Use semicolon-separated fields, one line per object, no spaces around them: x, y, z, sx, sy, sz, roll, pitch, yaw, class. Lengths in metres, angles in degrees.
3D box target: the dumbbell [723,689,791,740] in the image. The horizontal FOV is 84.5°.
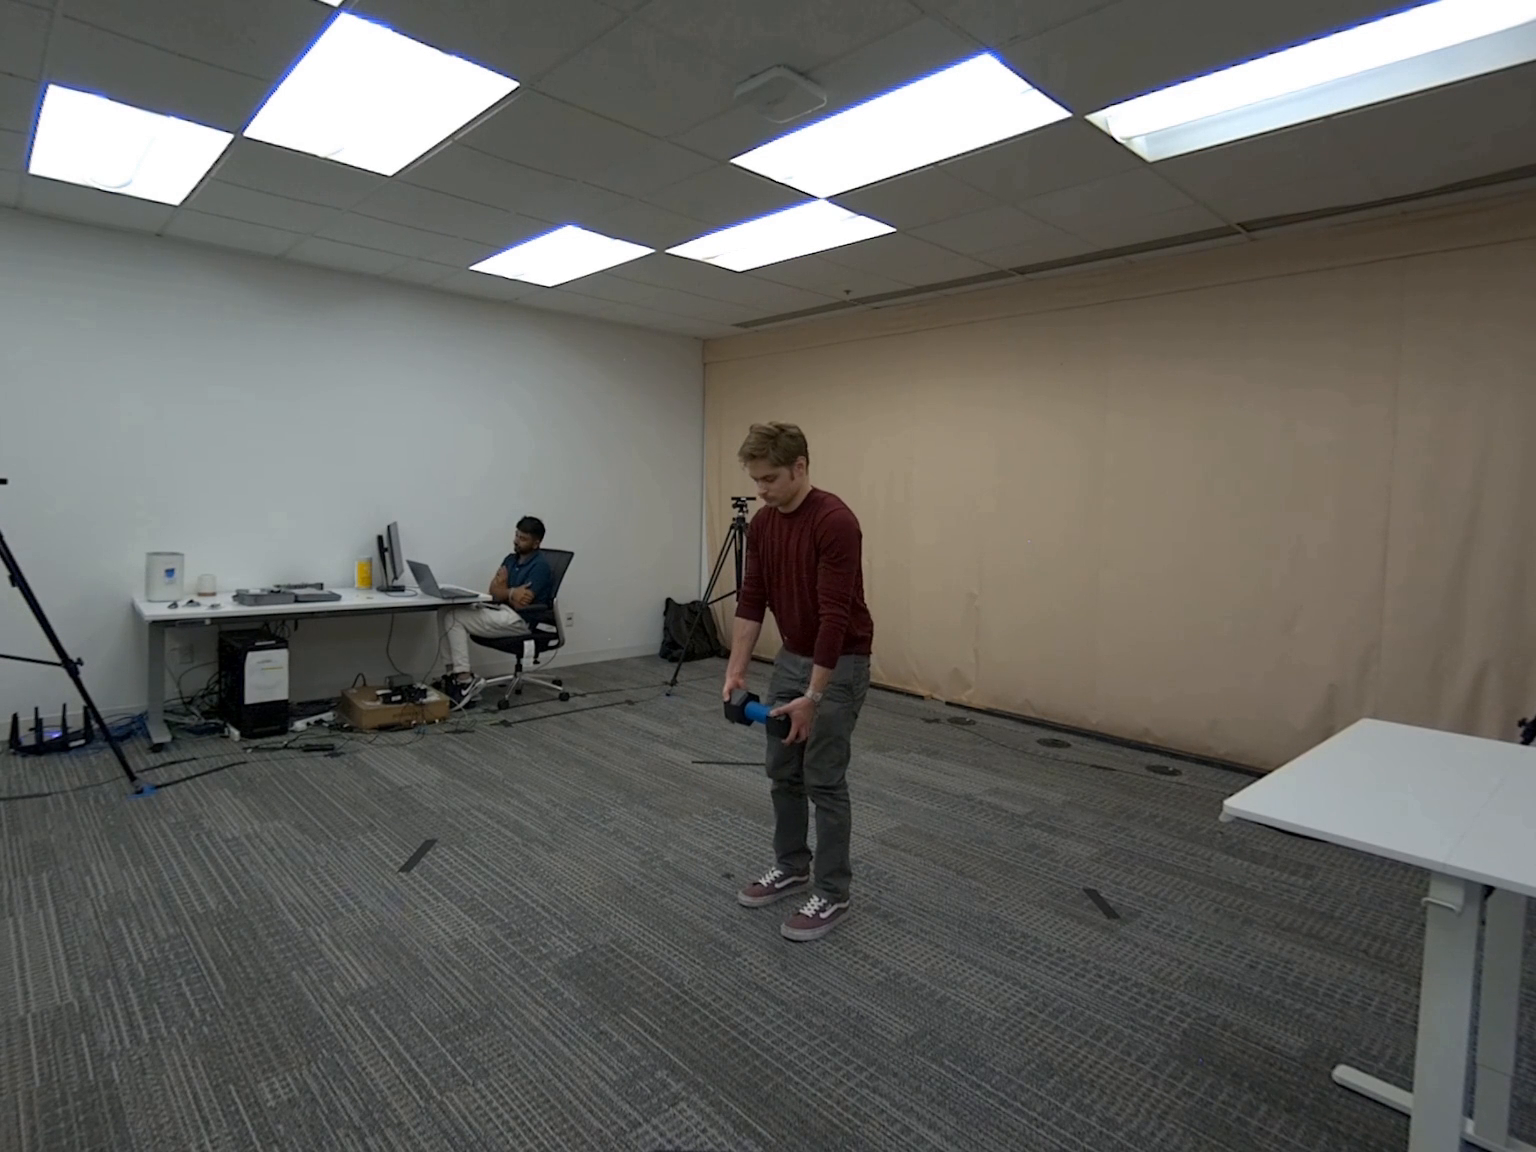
-0.010;0.451;2.715;0.107;0.122;0.301;-17;15;-38;dumbbell
